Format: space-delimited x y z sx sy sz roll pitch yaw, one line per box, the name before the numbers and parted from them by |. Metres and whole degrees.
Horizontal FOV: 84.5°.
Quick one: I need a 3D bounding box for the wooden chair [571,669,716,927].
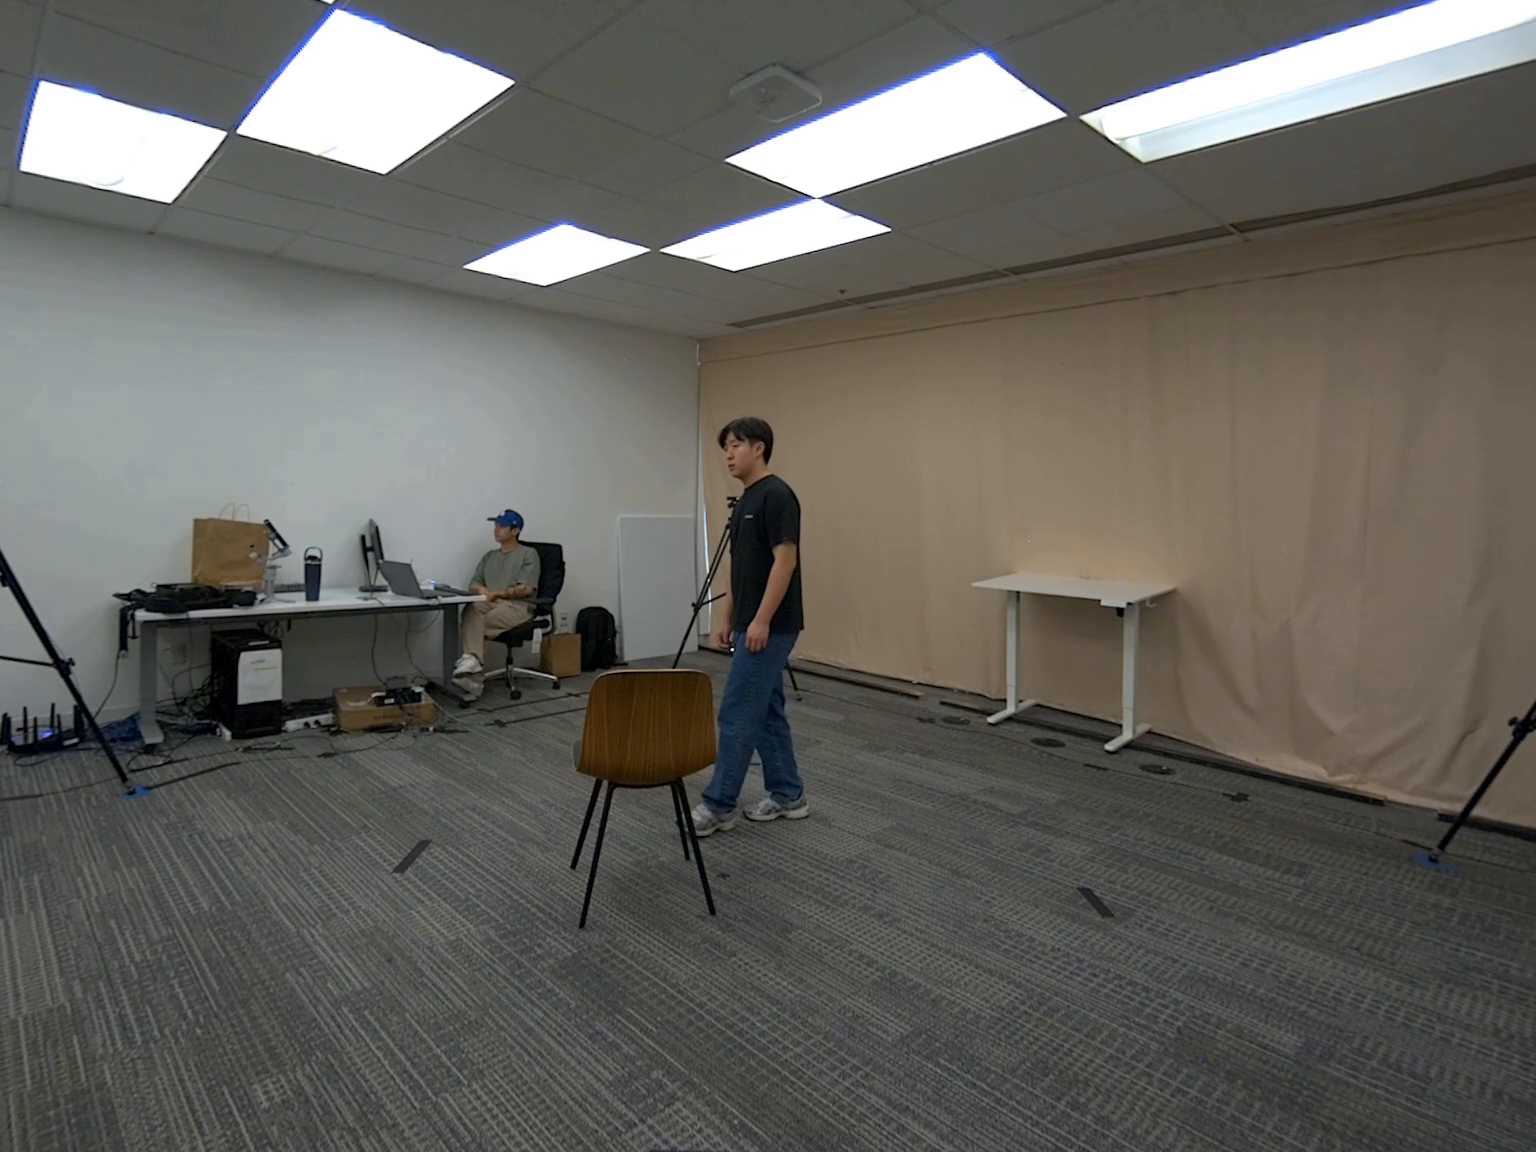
wooden chair | -0.446 0.691 2.940 0.472 0.873 0.532 0 8 -15
